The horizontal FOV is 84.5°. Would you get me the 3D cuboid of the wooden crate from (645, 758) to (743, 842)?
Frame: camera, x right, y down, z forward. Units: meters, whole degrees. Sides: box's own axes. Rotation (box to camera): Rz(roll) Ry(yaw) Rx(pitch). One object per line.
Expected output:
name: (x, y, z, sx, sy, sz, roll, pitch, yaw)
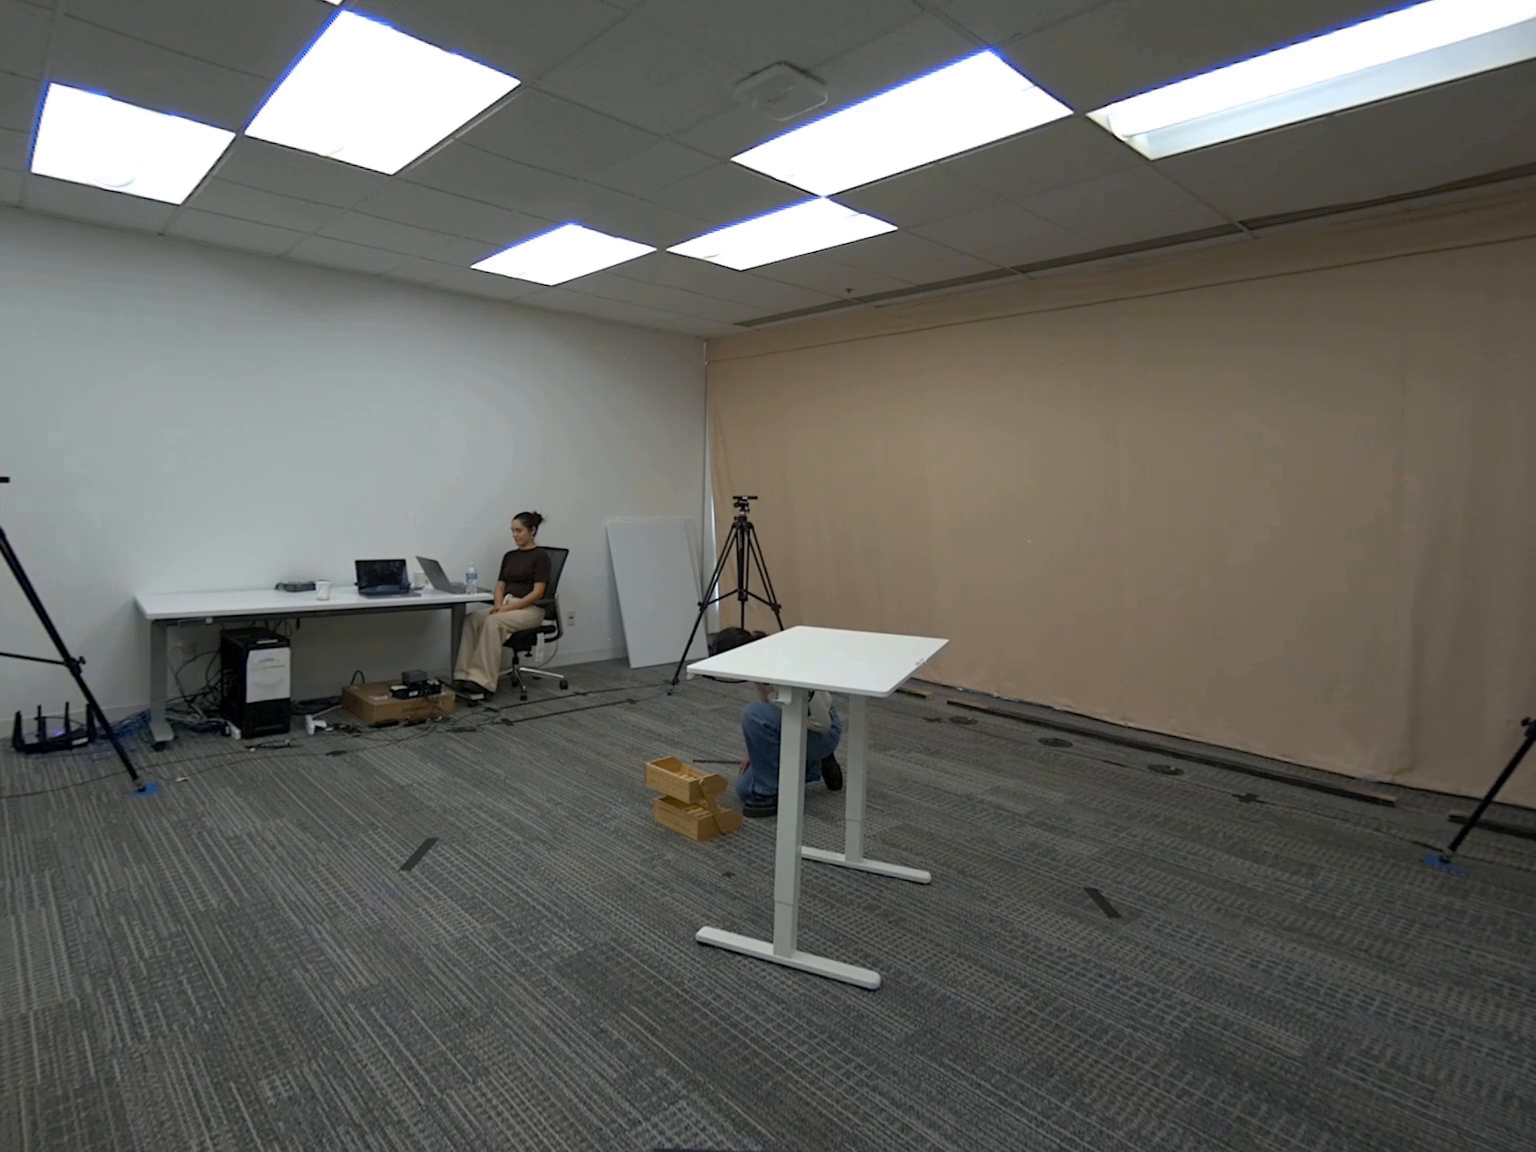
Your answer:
wooden crate: (-0.324, 0.924, 3.565, 0.295, 0.272, 0.333, -3, 7, -44)
